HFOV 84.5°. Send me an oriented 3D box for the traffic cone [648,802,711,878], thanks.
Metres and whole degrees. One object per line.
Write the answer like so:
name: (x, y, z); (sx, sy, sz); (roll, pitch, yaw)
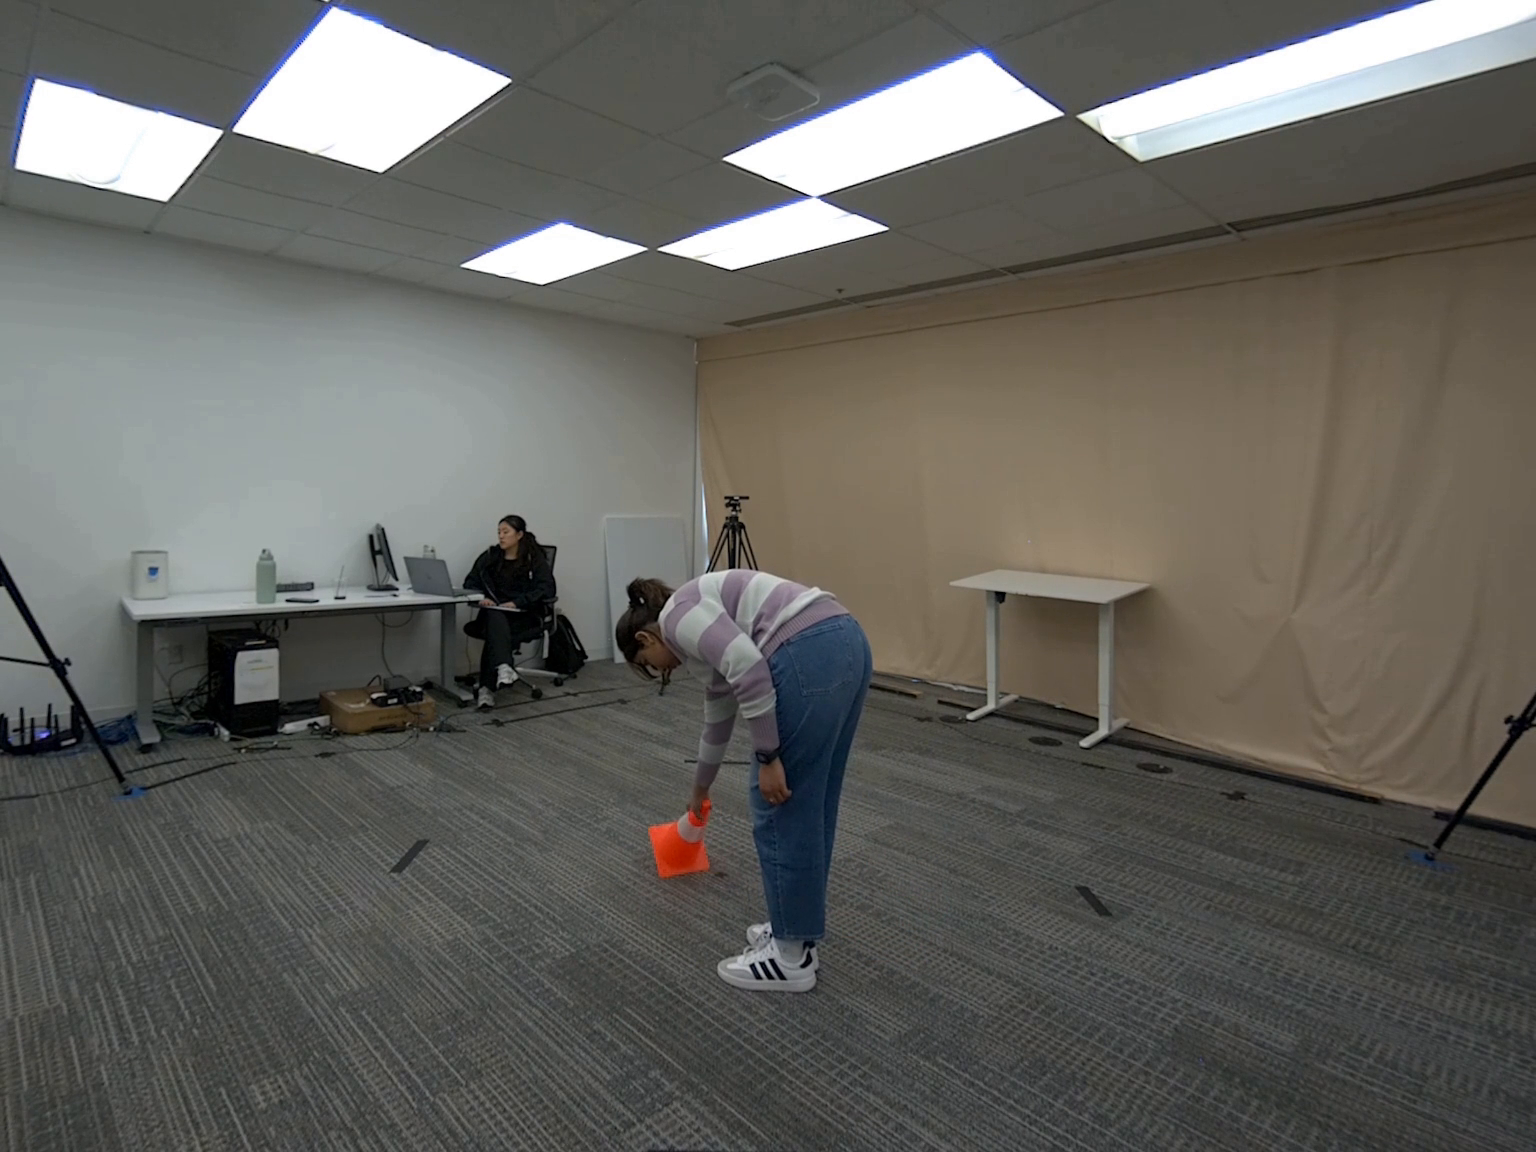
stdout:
traffic cone: (-0.270, 0.900, 3.046); (0.199, 0.380, 0.211); (1, 47, -26)
